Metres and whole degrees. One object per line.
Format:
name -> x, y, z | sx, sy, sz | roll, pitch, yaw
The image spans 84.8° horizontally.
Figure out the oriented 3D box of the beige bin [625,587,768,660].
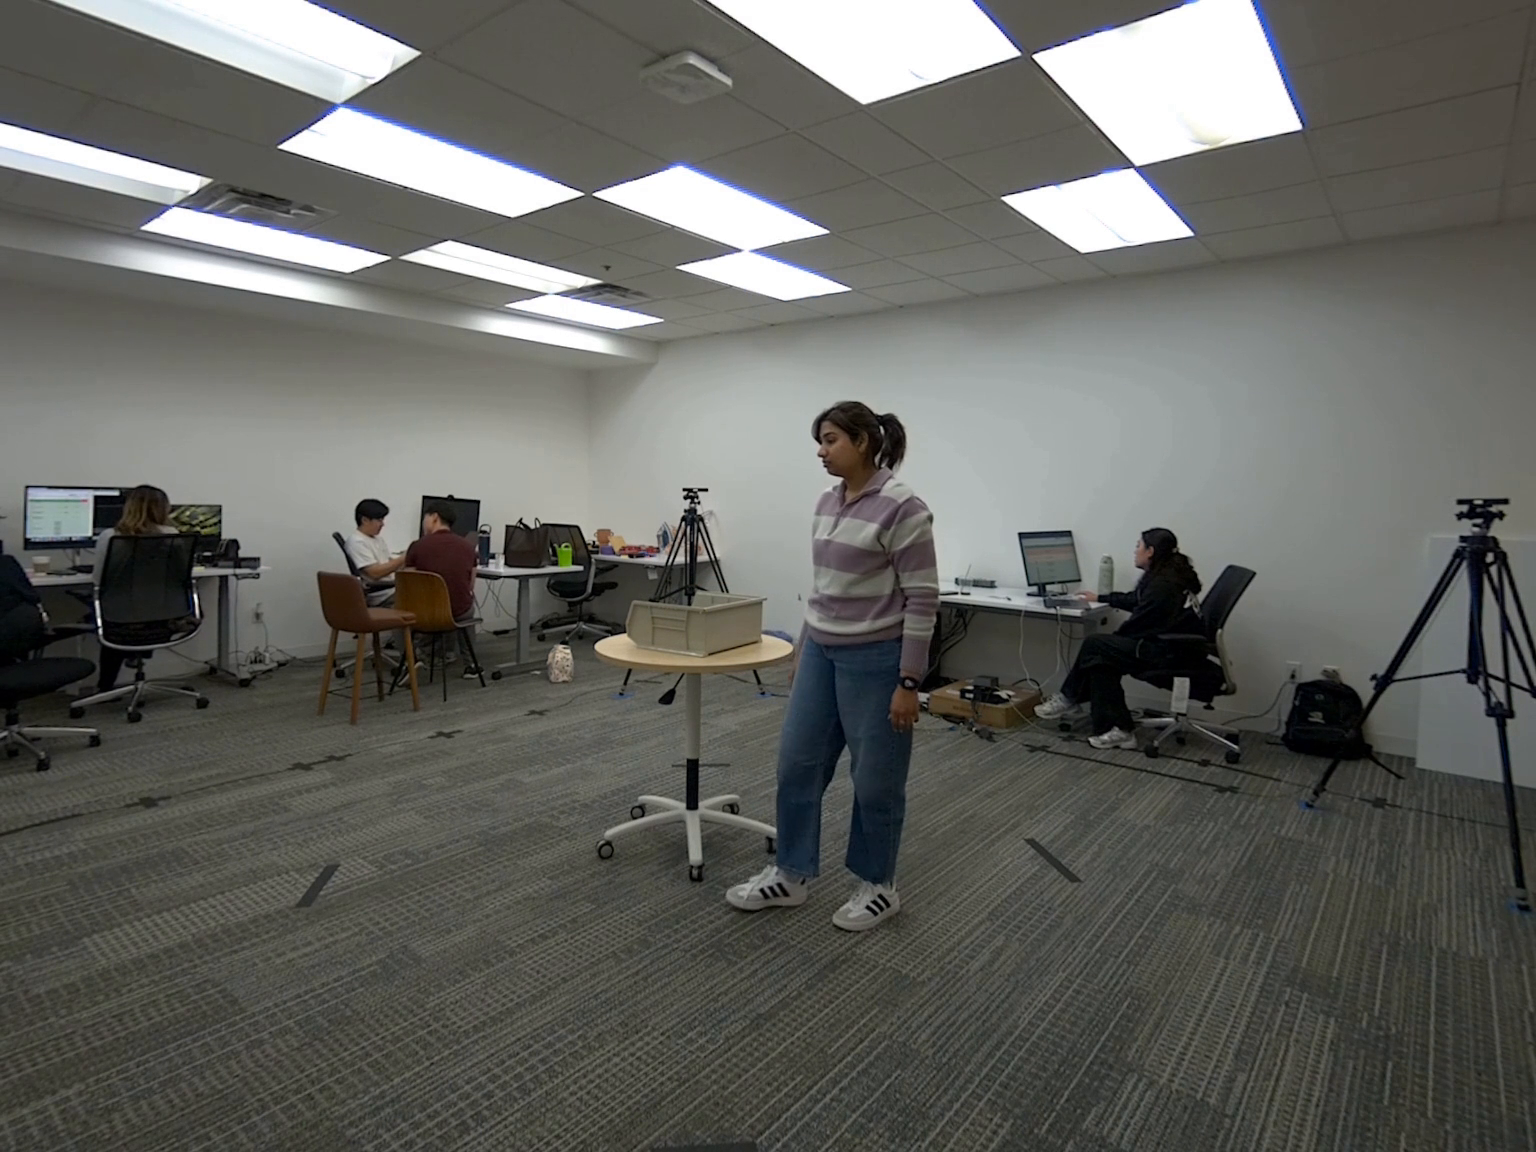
beige bin -> -0.280, 0.173, 3.314 | 0.389, 0.188, 0.411 | 6, 7, 32
